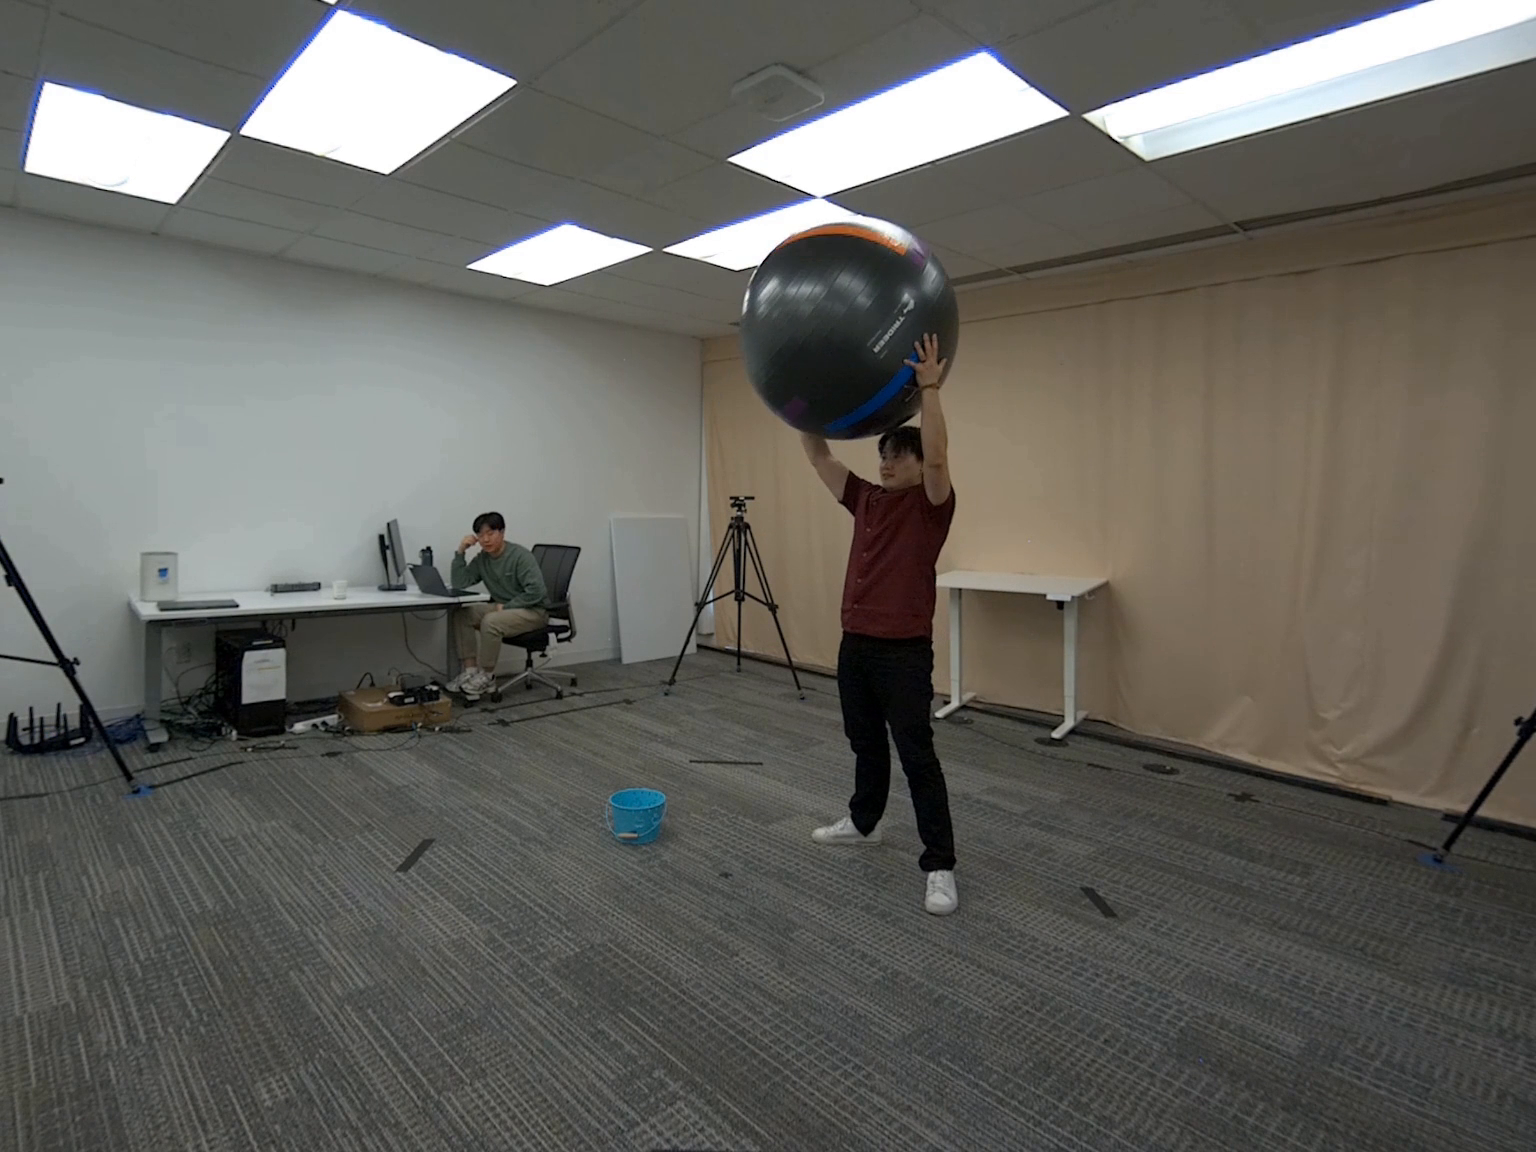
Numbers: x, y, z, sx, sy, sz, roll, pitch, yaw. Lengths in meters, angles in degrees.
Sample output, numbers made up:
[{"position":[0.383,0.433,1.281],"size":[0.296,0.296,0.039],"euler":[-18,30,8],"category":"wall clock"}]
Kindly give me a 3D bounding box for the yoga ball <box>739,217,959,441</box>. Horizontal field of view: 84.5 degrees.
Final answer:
[{"position":[0.267,-0.849,2.950],"size":[0.757,0.756,0.761],"euler":[1,4,-1],"category":"yoga ball"}]
